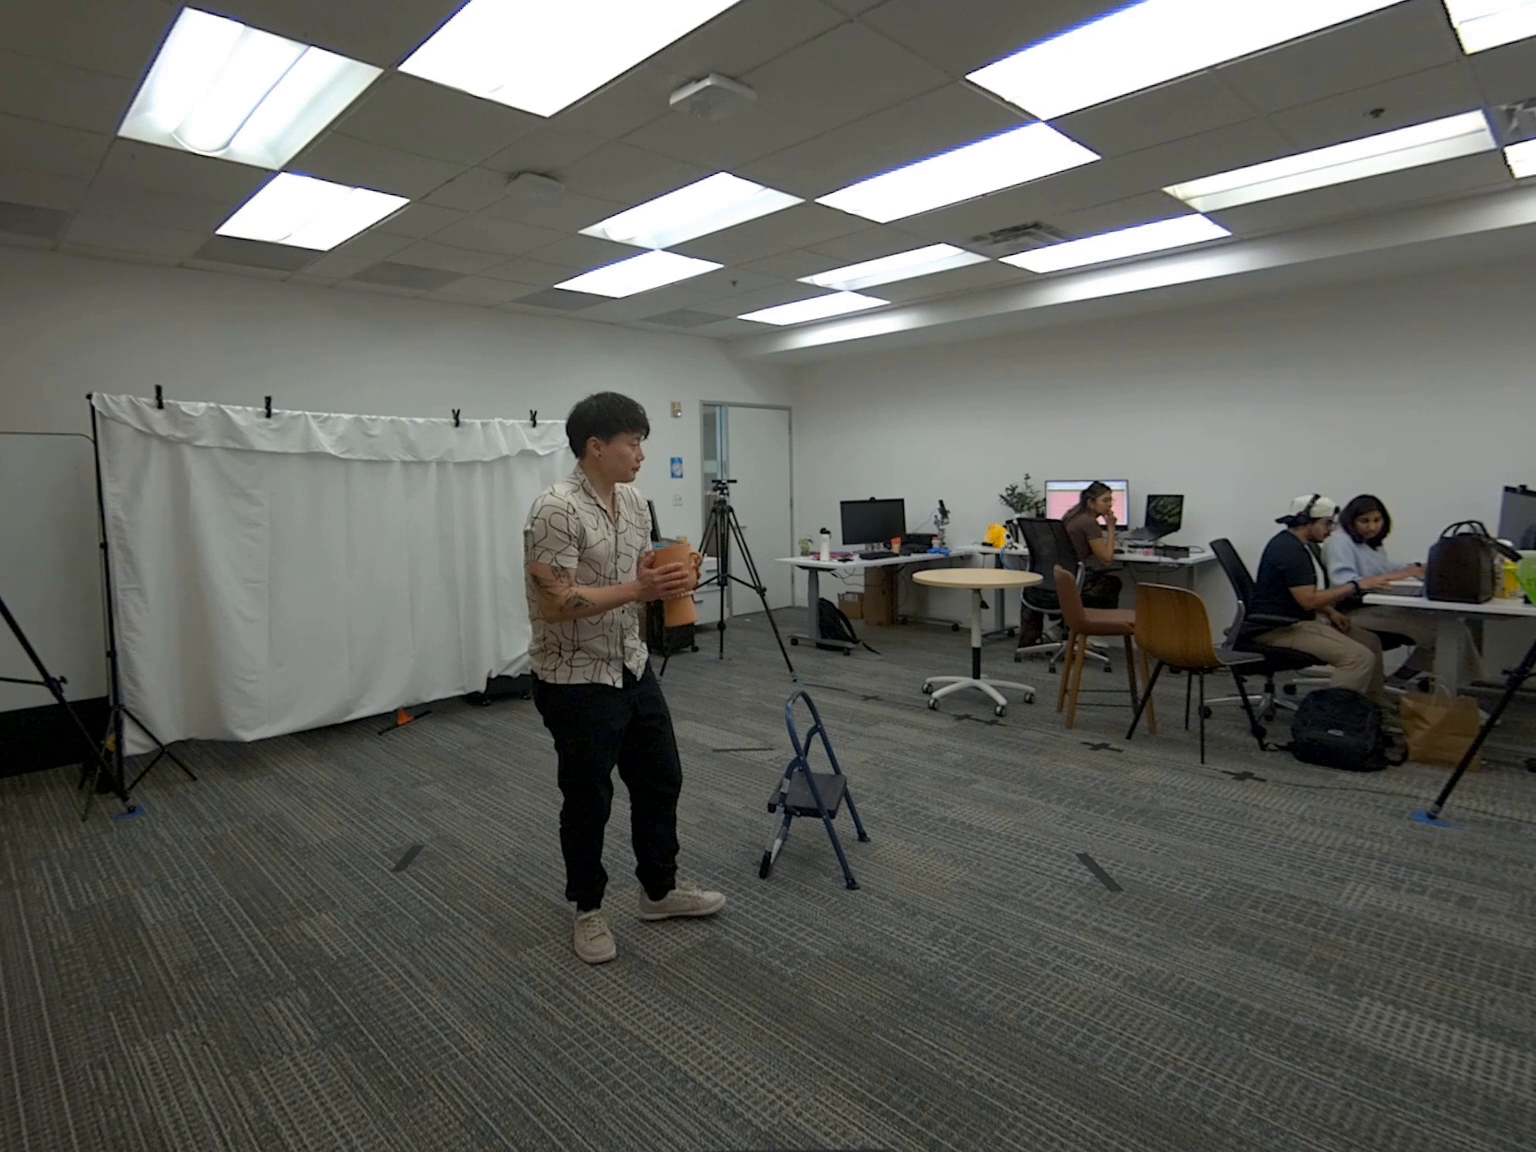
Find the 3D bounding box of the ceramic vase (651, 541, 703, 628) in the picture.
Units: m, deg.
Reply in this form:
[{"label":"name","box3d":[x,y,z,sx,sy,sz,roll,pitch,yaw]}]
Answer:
[{"label":"ceramic vase","box3d":[-0.264,0.031,2.395,0.132,0.219,0.162,-12,3,-31]}]
